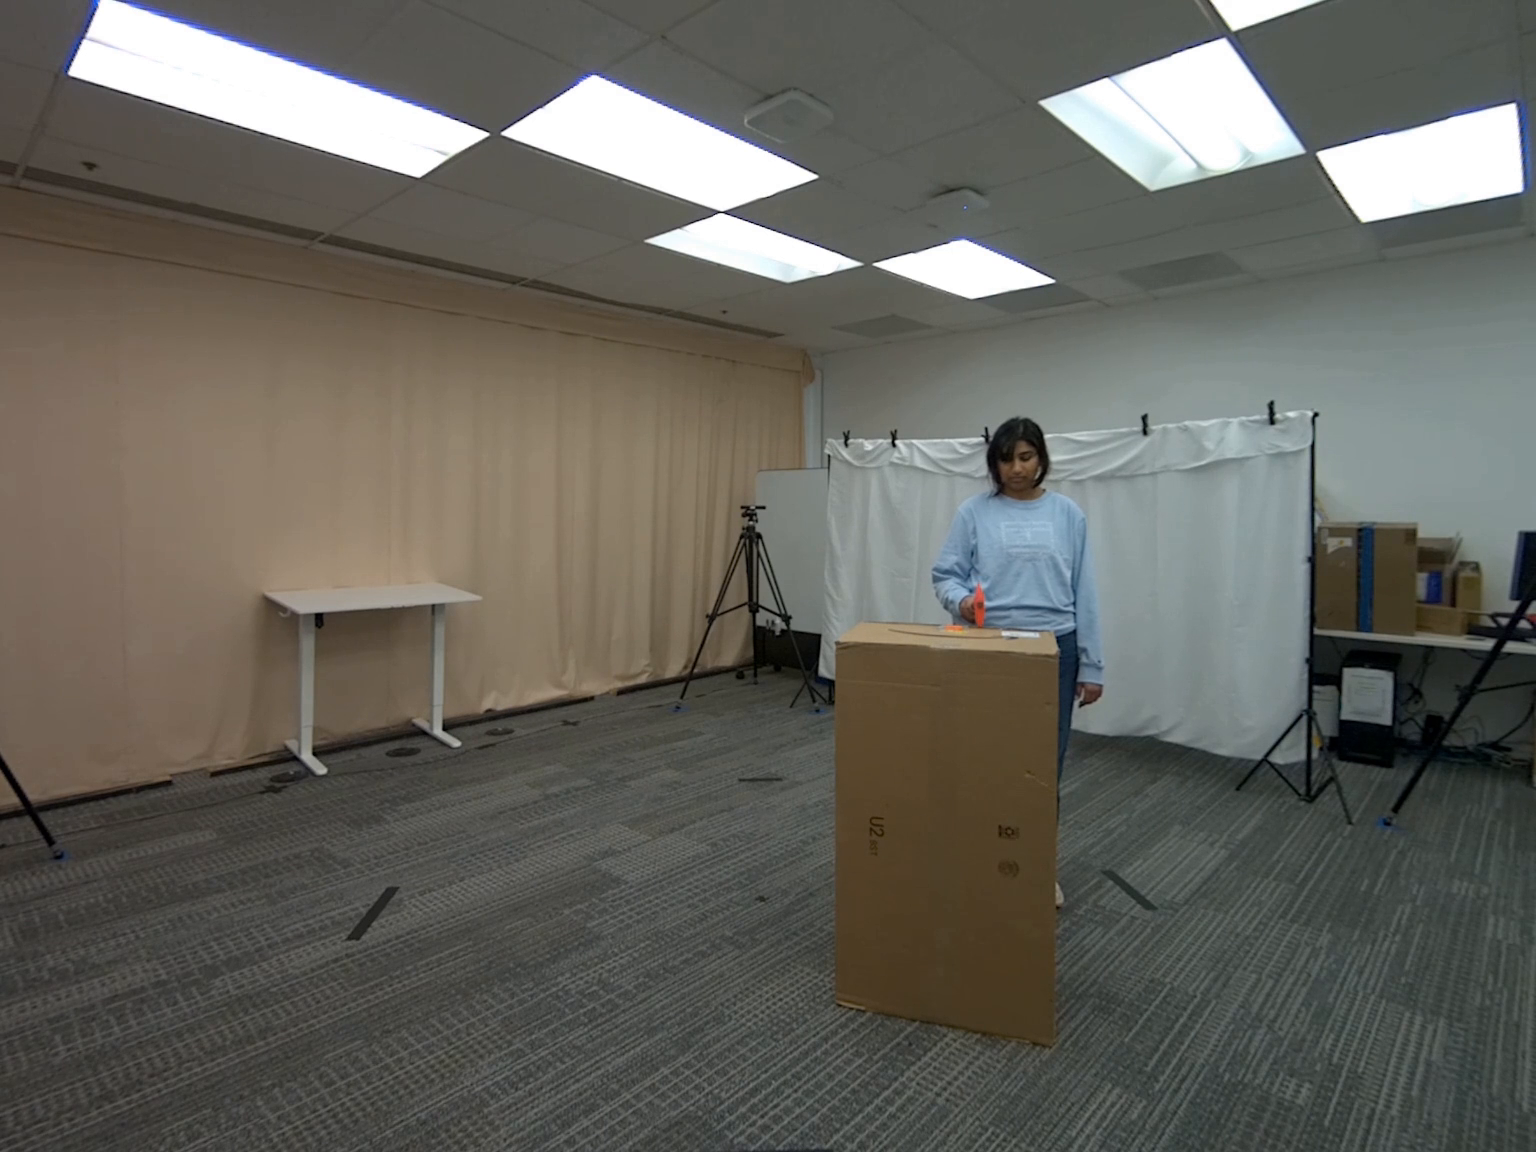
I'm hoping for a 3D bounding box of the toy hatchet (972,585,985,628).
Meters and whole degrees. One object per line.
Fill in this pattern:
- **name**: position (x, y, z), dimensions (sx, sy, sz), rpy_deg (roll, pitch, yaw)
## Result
- **toy hatchet**: position (0.655, 0.124, 2.654), dimensions (0.029, 0.133, 0.268), rpy_deg (-4, -18, -8)
